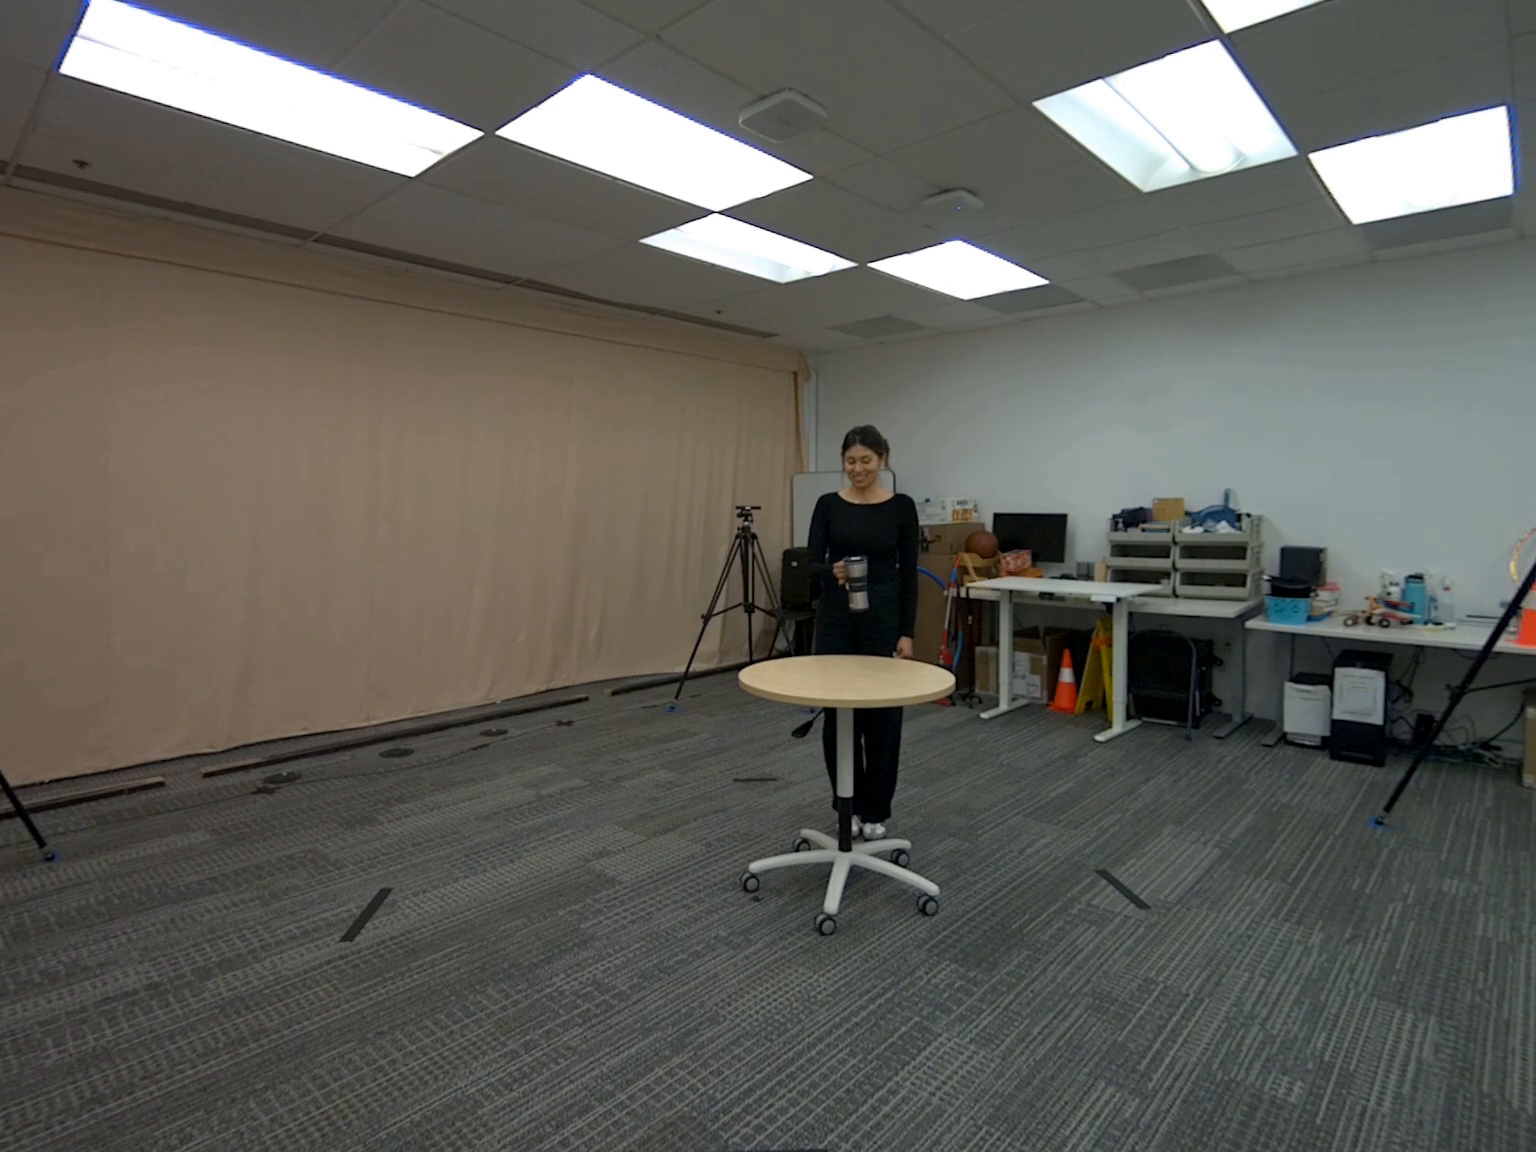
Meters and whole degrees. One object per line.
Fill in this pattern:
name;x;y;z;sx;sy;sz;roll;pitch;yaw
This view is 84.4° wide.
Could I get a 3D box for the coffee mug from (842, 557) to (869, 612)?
coffee mug;0.356;0.025;3.191;0.119;0.202;0.090;-13;6;-43
